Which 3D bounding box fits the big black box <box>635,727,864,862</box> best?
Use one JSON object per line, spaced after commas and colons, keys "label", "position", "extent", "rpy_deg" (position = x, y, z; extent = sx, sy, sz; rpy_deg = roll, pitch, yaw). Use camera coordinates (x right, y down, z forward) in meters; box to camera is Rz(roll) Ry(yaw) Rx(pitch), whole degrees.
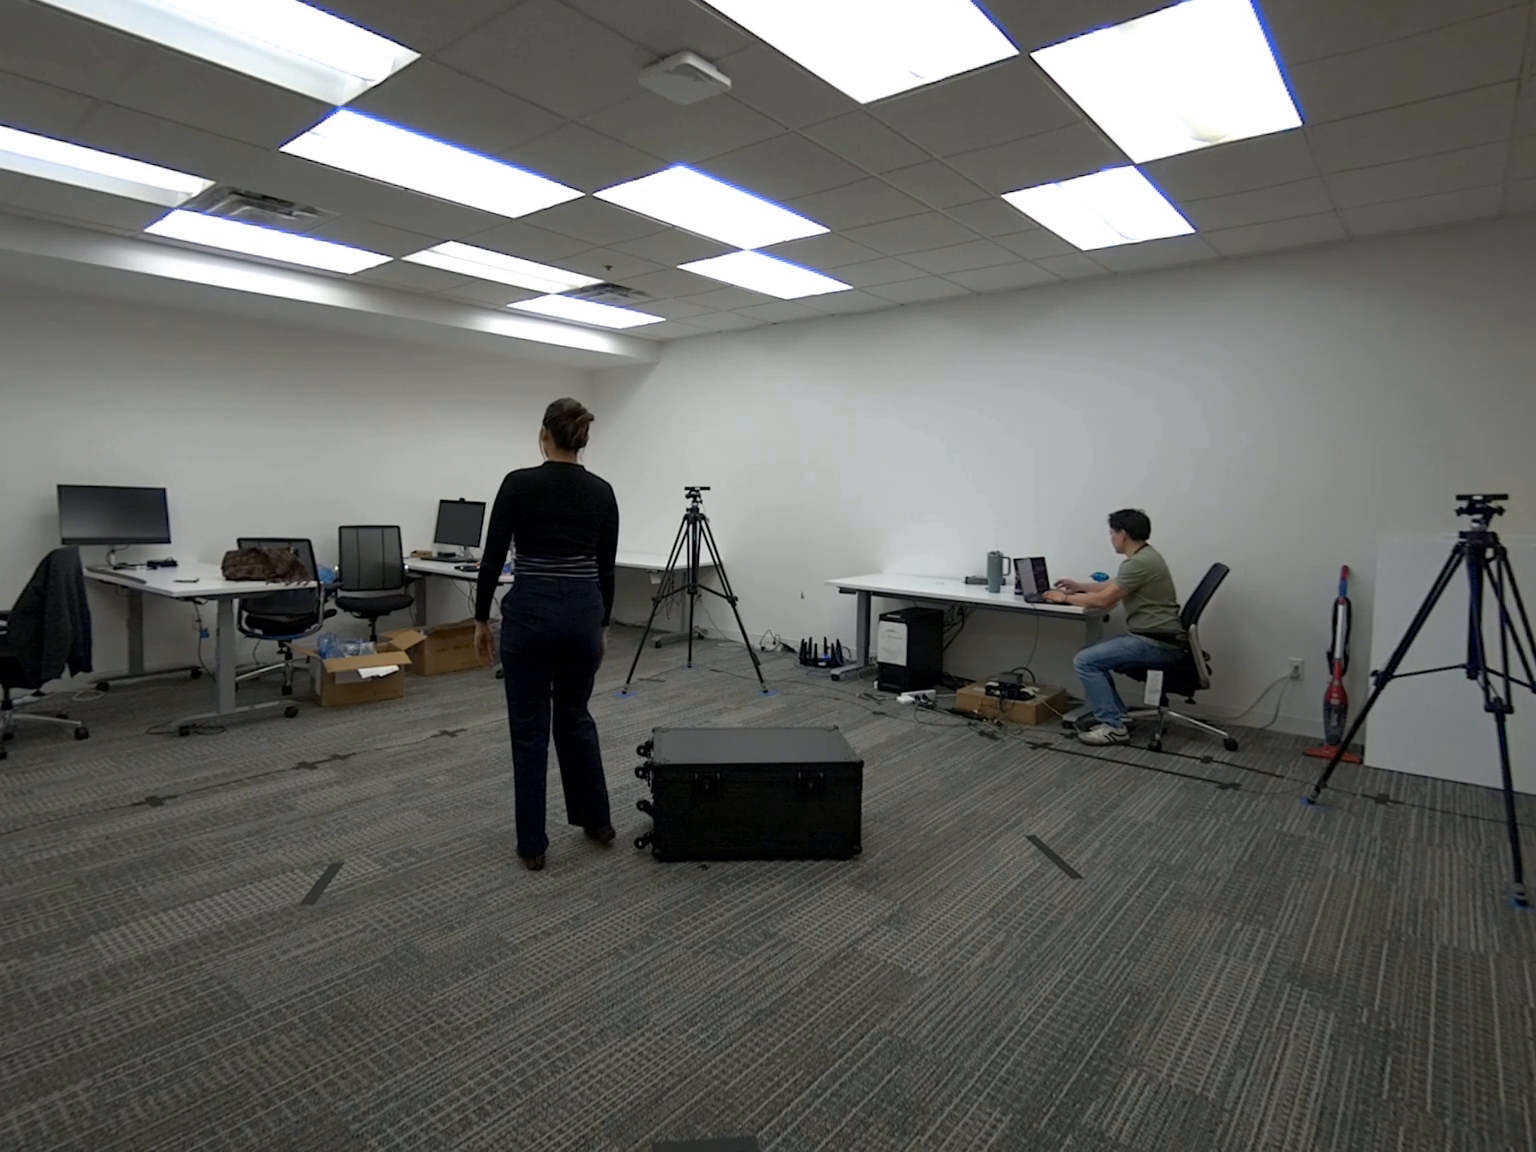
{"label": "big black box", "position": [-0.109, 0.845, 3.393], "extent": [0.857, 0.395, 0.526], "rpy_deg": [0, 5, -5]}
